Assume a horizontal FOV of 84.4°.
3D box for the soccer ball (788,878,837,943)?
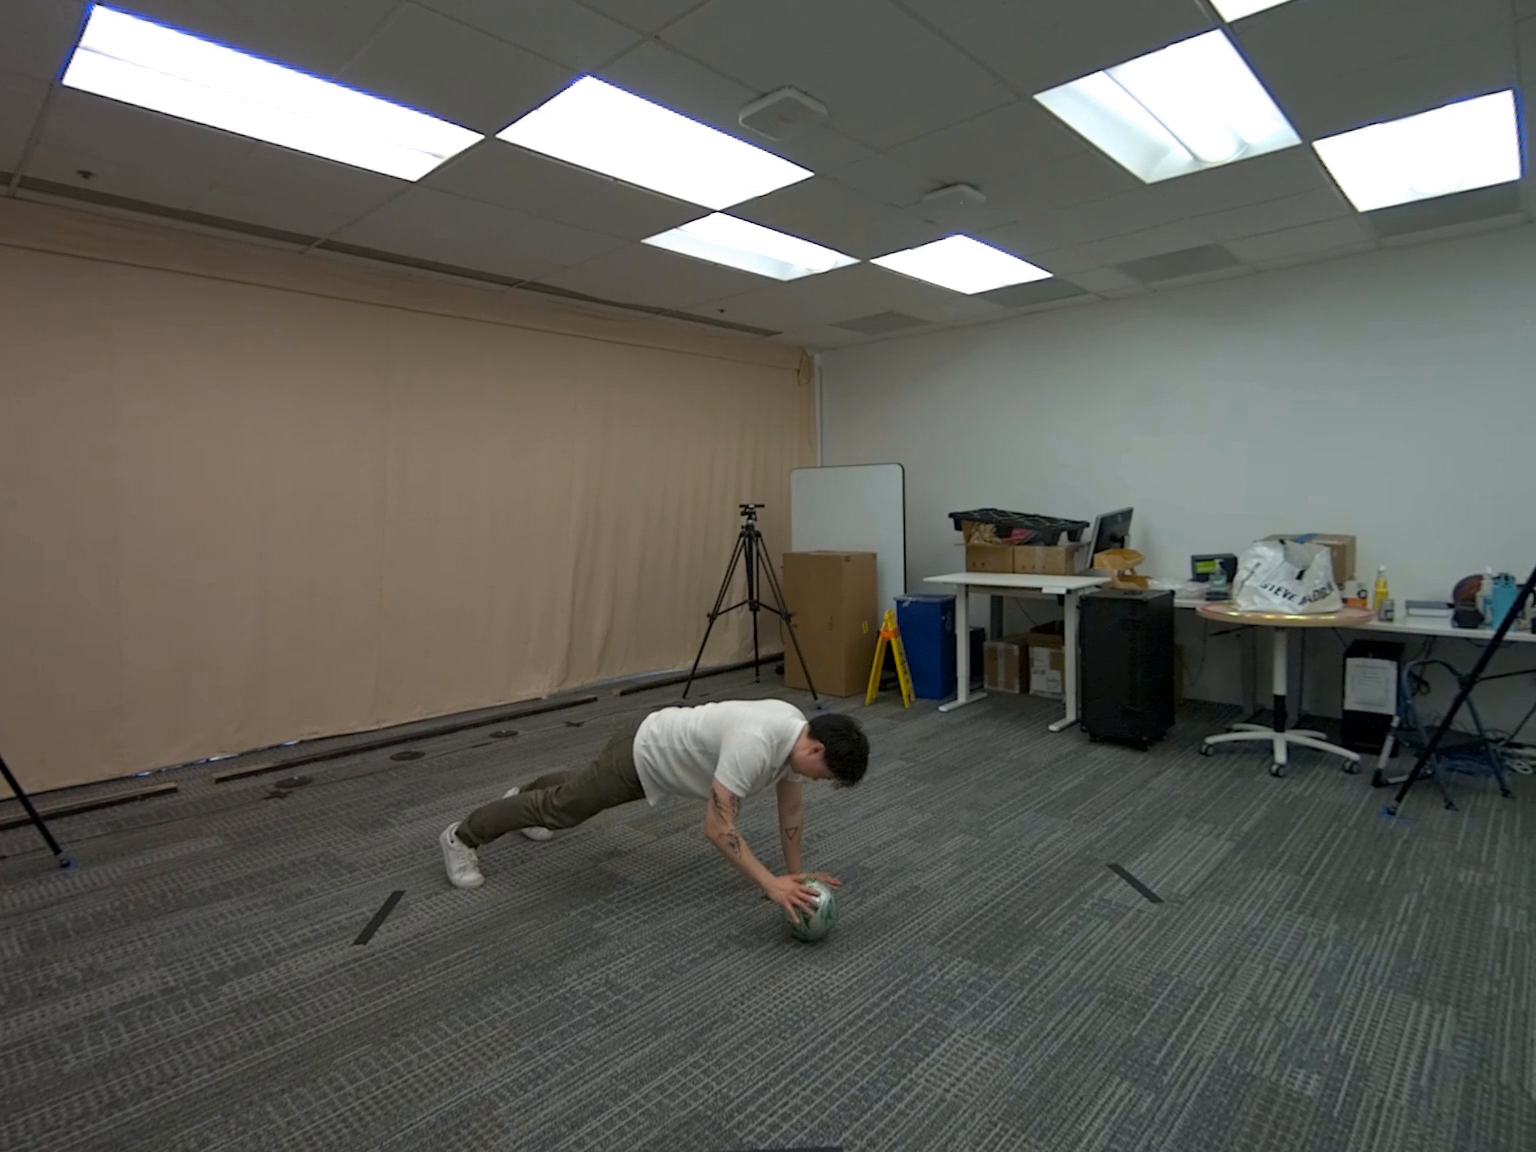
[{"bbox_3d":[0.132,1.059,2.711,0.187,0.187,0.188,-1,4,-2],"label":"soccer ball"}]
